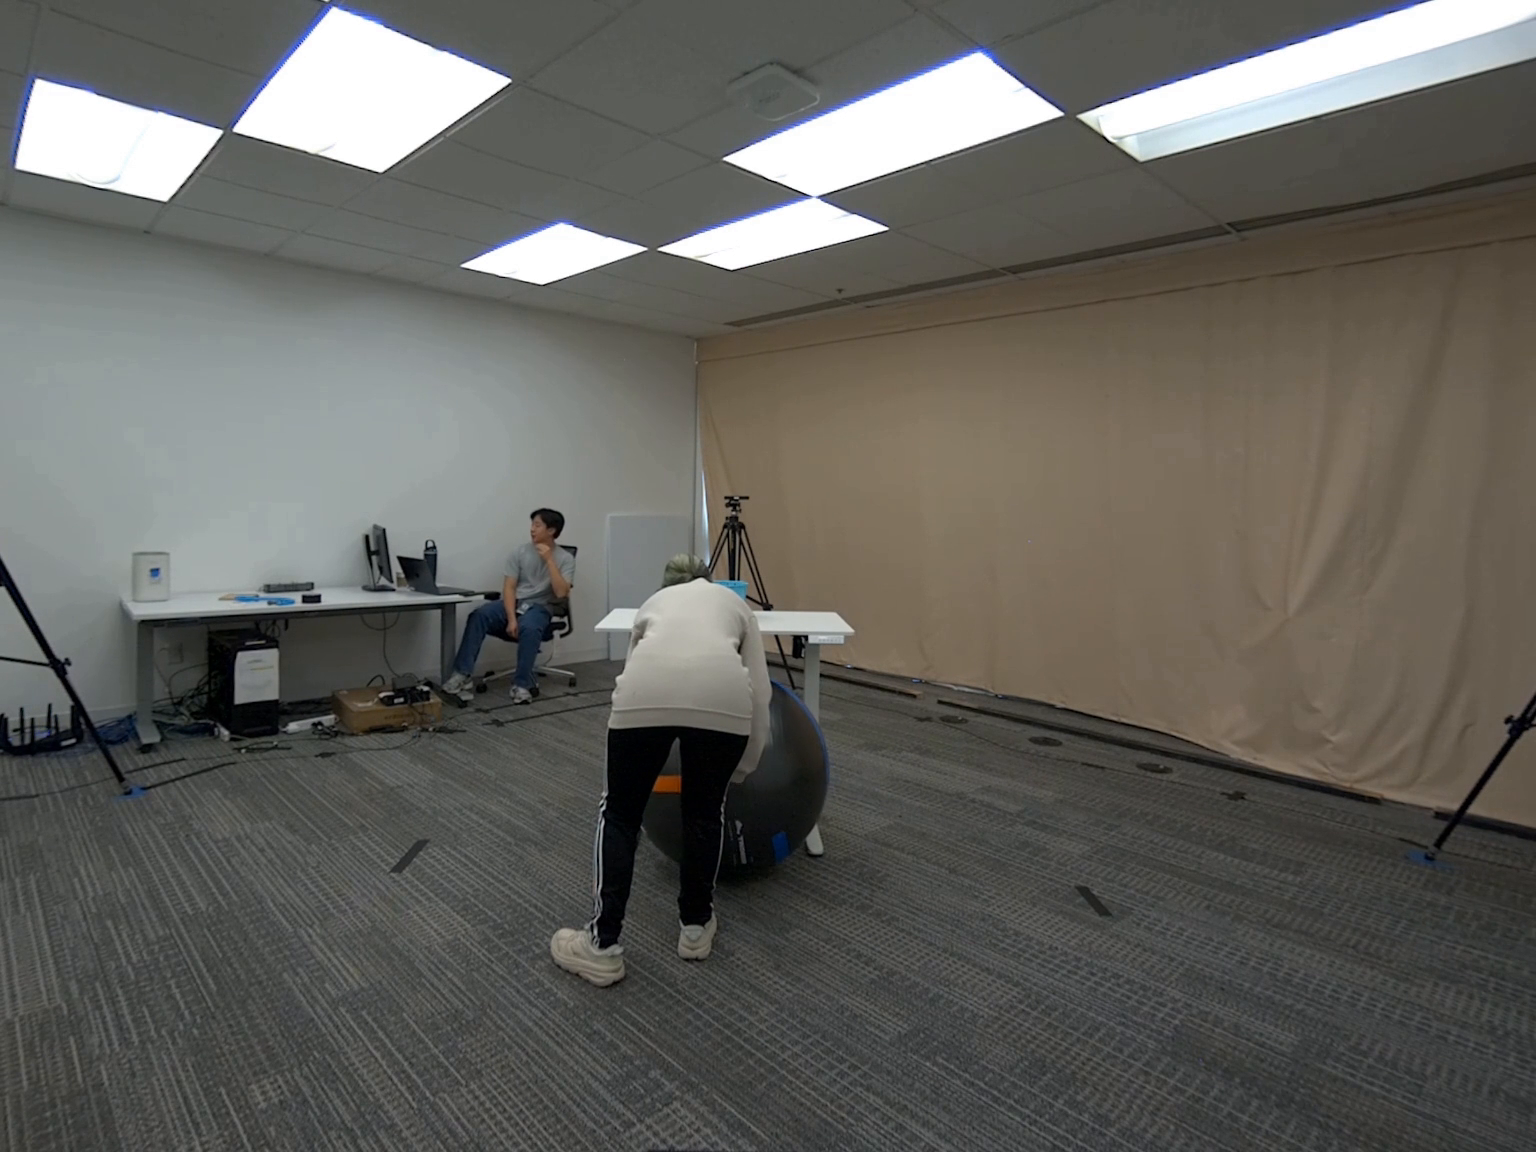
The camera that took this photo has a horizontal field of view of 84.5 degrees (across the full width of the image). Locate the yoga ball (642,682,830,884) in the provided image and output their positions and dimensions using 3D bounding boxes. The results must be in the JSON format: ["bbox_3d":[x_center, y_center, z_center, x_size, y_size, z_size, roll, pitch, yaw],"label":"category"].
[{"bbox_3d":[-0.156,0.728,3.158,0.757,0.756,0.761,1,4,-1],"label":"yoga ball"}]
